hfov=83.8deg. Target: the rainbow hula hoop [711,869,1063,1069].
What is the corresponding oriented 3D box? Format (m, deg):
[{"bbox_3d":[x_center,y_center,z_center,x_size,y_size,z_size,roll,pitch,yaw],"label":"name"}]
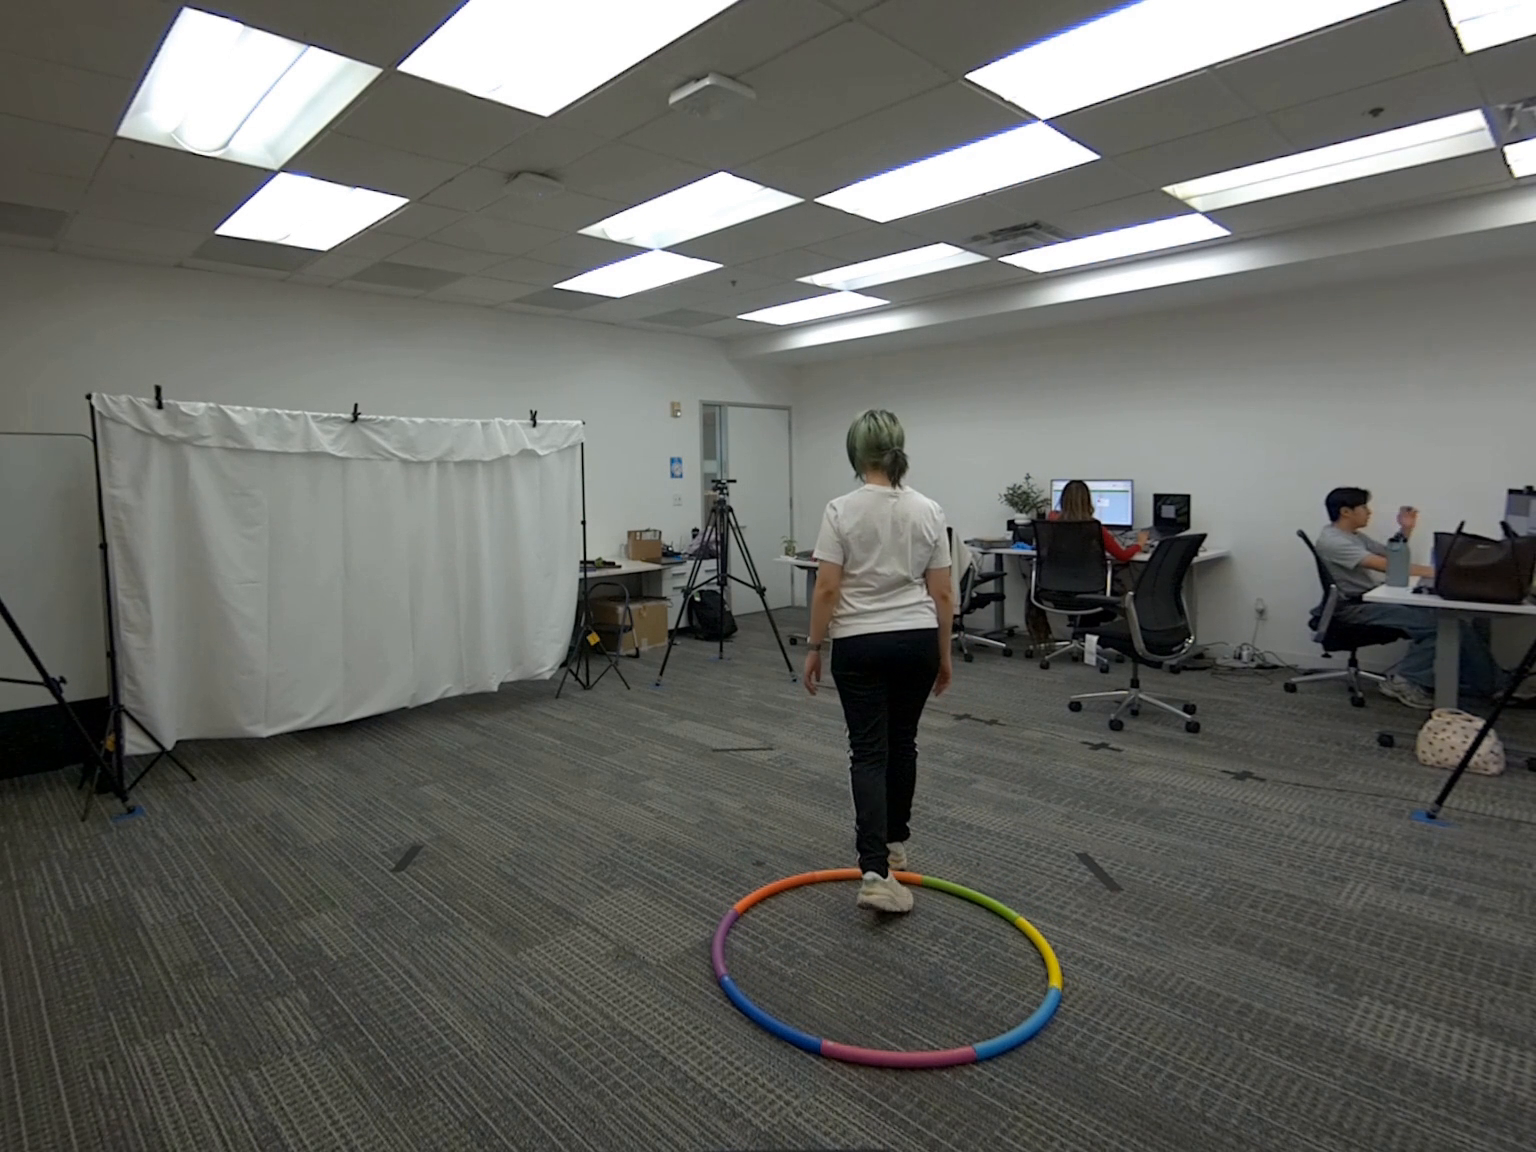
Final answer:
[{"bbox_3d":[0.329,1.086,2.500,0.985,0.051,0.991,-2,6,-2],"label":"rainbow hula hoop"}]
